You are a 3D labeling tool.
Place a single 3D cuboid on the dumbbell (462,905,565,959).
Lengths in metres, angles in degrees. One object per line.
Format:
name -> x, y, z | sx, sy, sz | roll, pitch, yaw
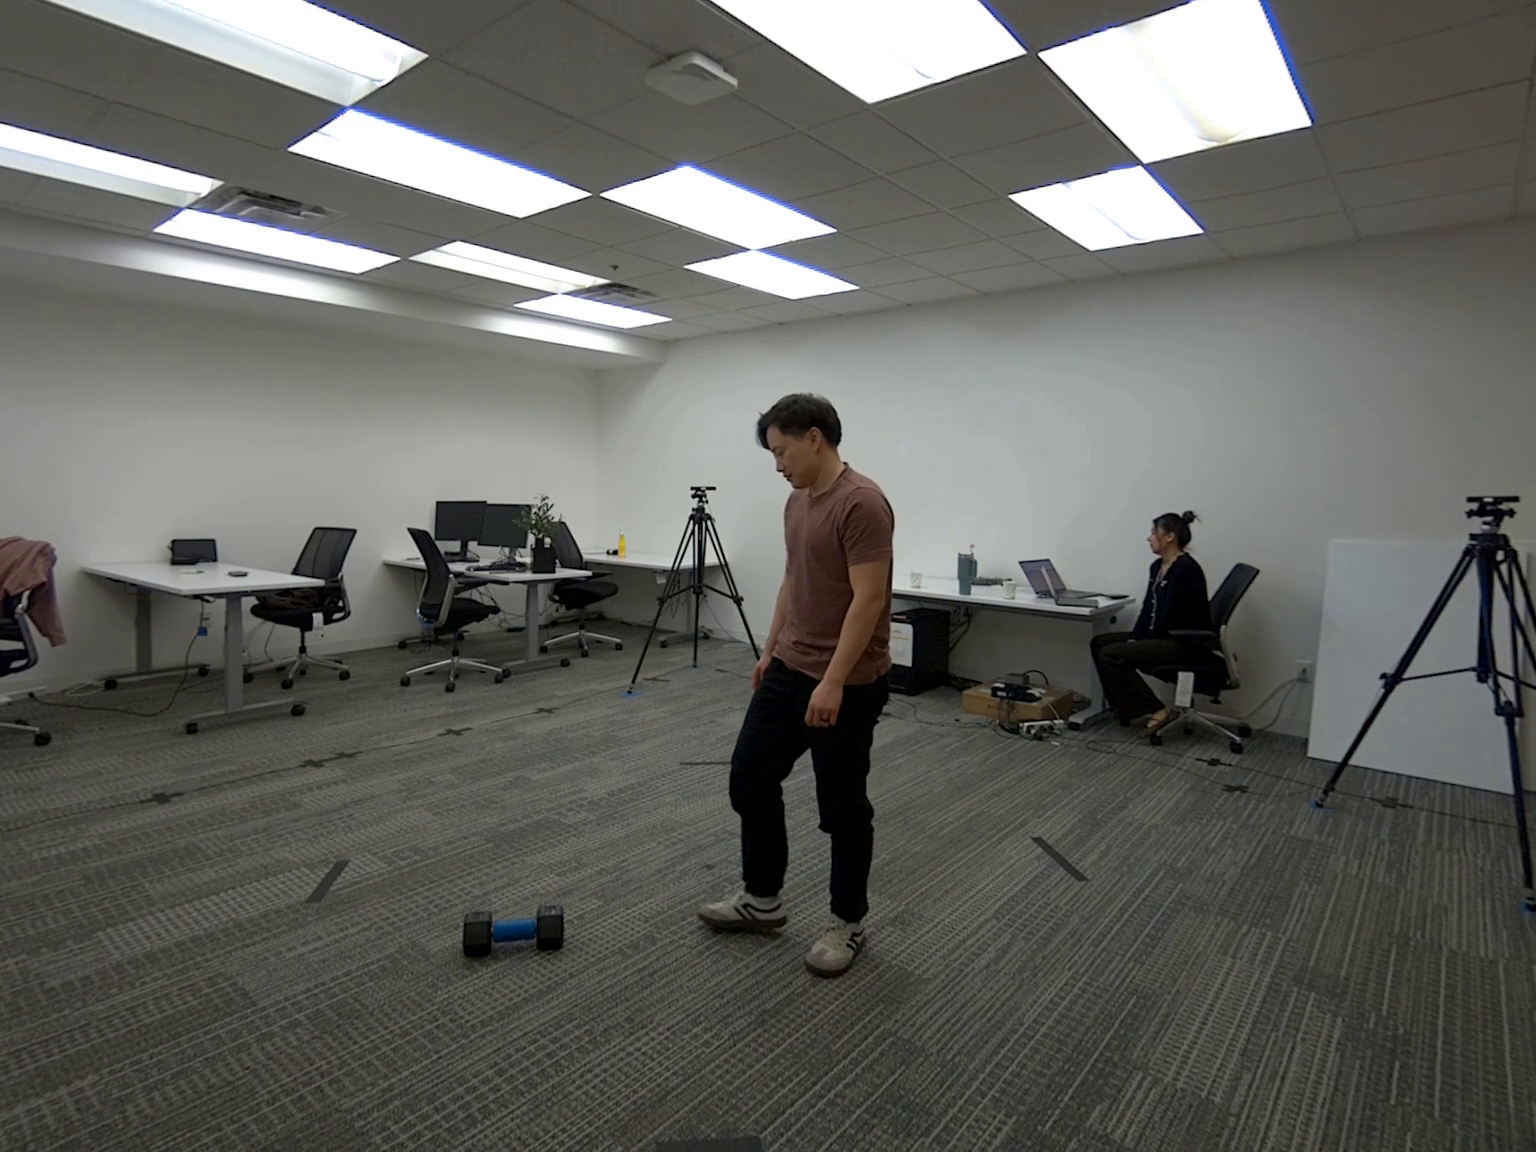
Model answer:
dumbbell -> -0.773, 1.062, 2.552 | 0.290, 0.108, 0.125 | 0, 5, -11
